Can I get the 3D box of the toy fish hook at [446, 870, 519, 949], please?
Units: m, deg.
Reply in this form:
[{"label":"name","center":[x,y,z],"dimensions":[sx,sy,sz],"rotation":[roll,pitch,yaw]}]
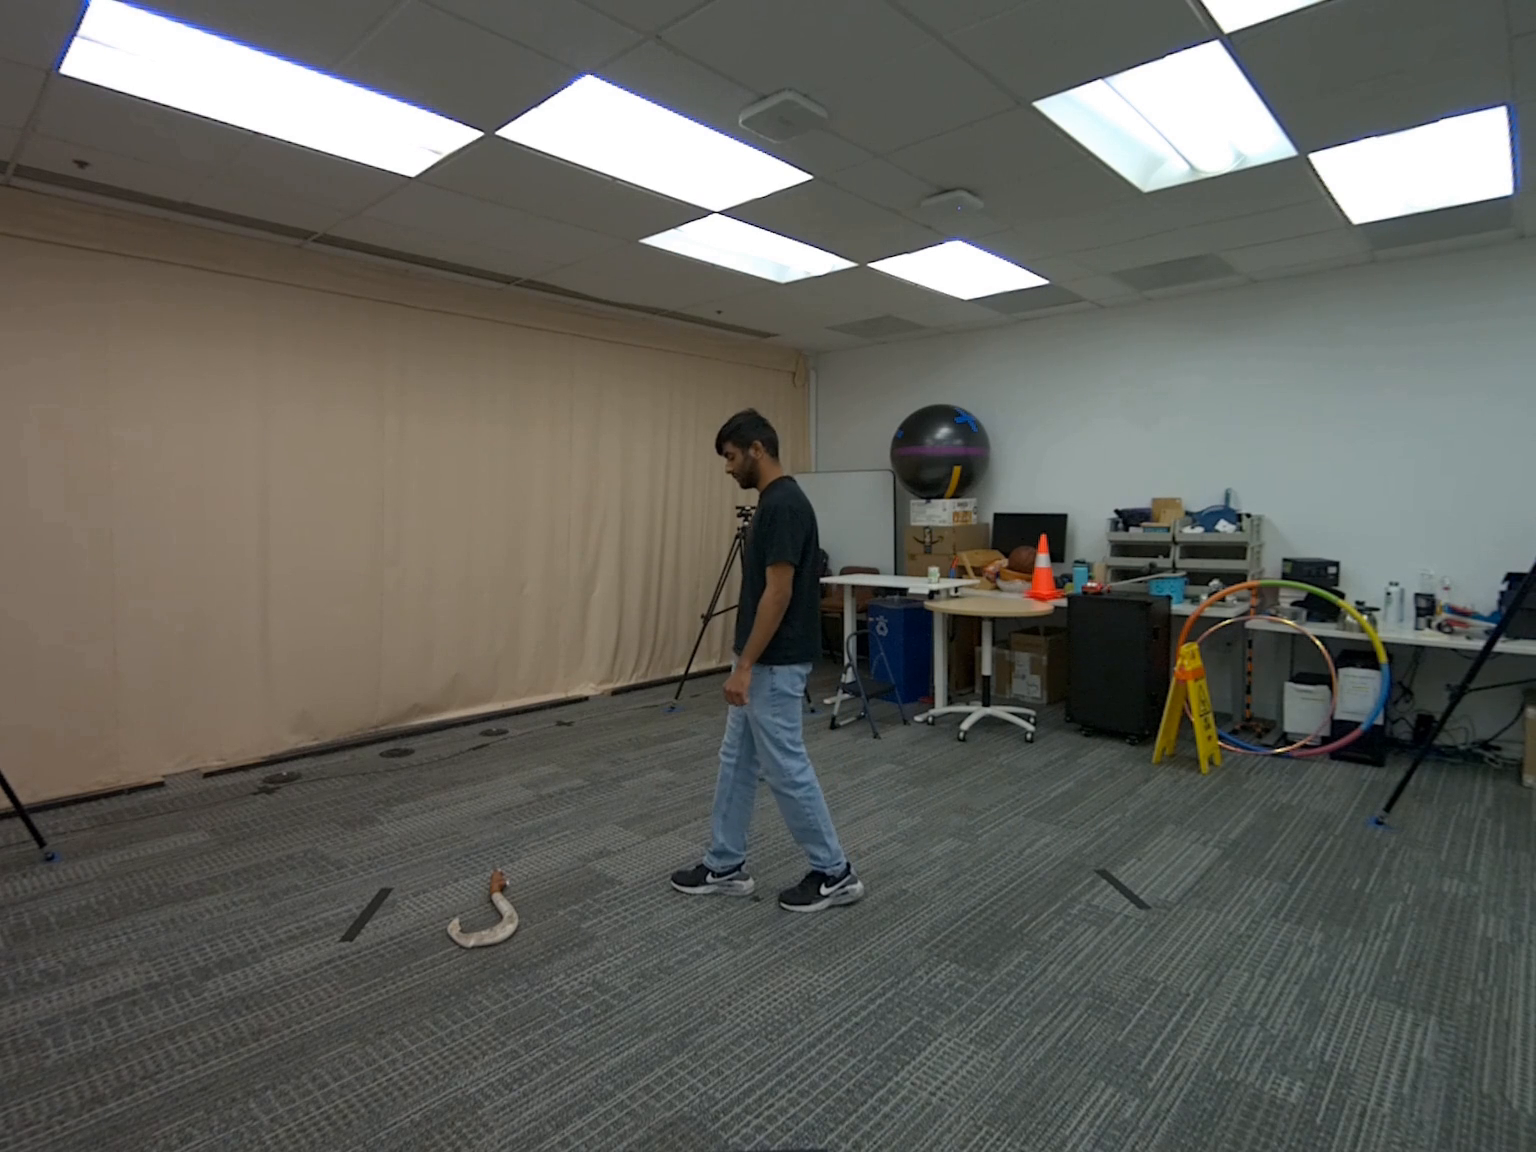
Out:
[{"label":"toy fish hook","center":[-0.986,1.141,2.895],"dimensions":[0.220,0.048,0.517],"rotation":[-1,4,-20]}]
